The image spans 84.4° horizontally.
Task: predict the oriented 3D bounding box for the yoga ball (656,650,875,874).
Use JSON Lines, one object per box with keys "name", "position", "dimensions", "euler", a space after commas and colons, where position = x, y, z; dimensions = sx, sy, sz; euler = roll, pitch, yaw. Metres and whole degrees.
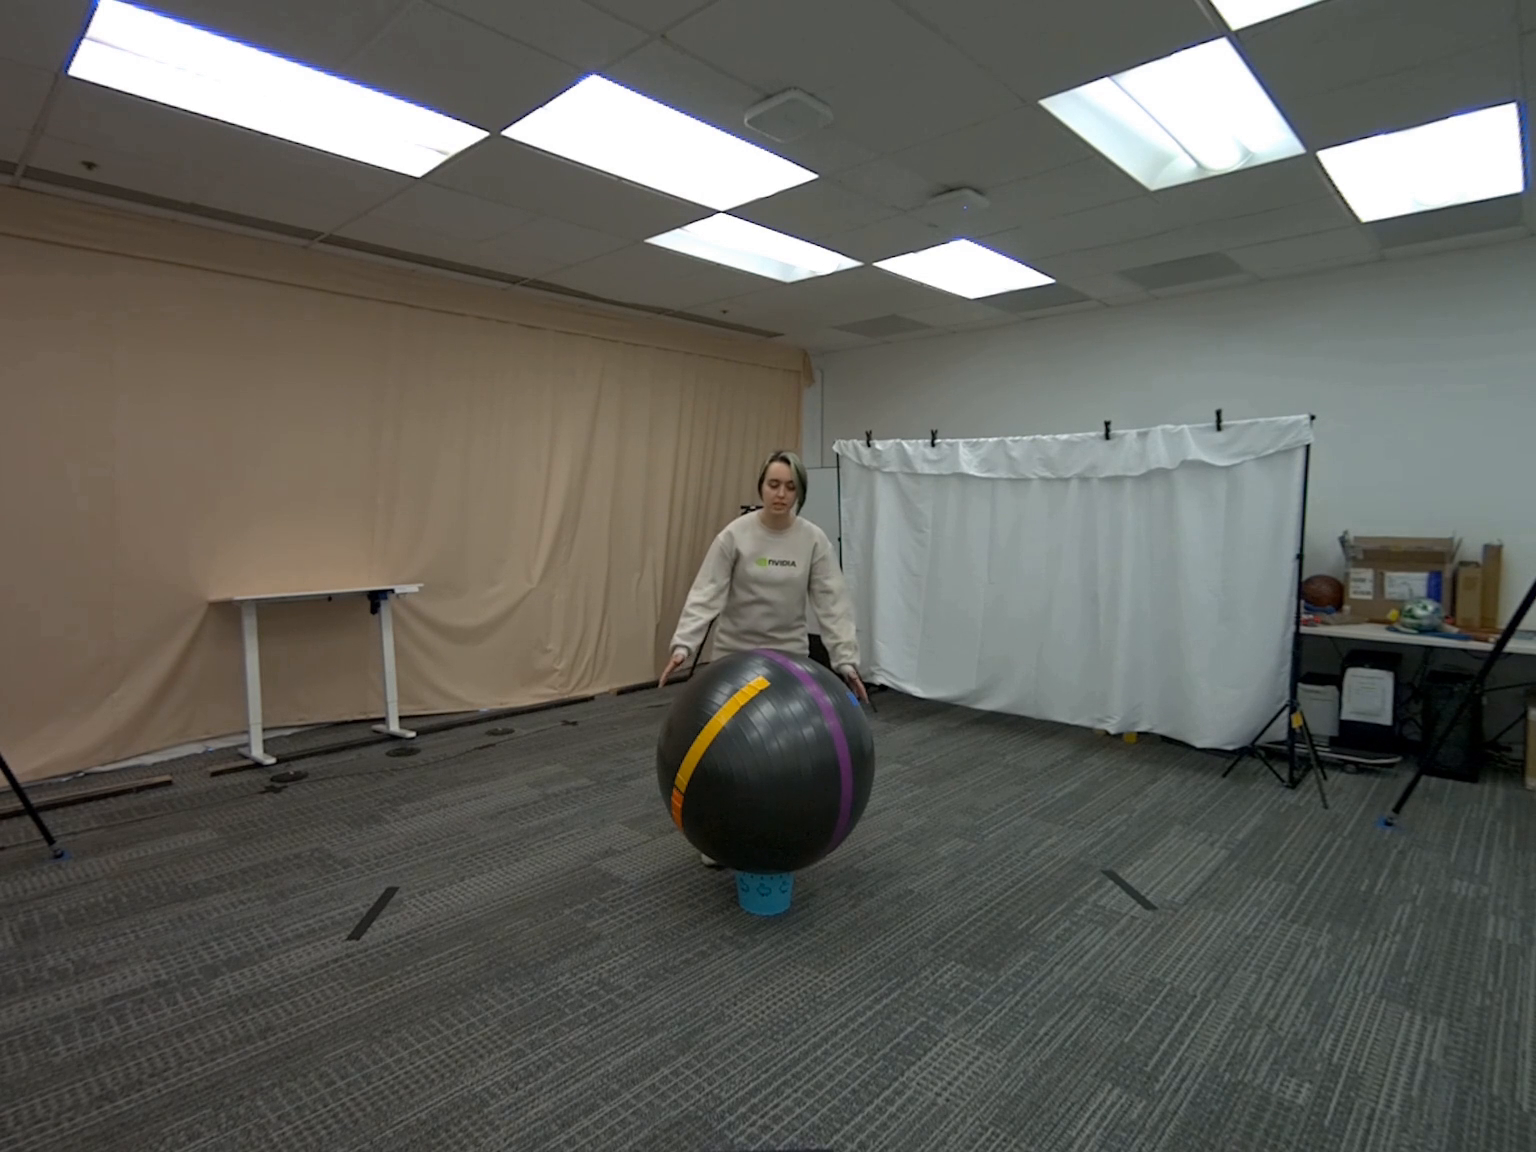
{"name": "yoga ball", "position": [-0.011, 0.642, 2.919], "dimensions": [0.757, 0.756, 0.760], "euler": [0, 4, -2]}
